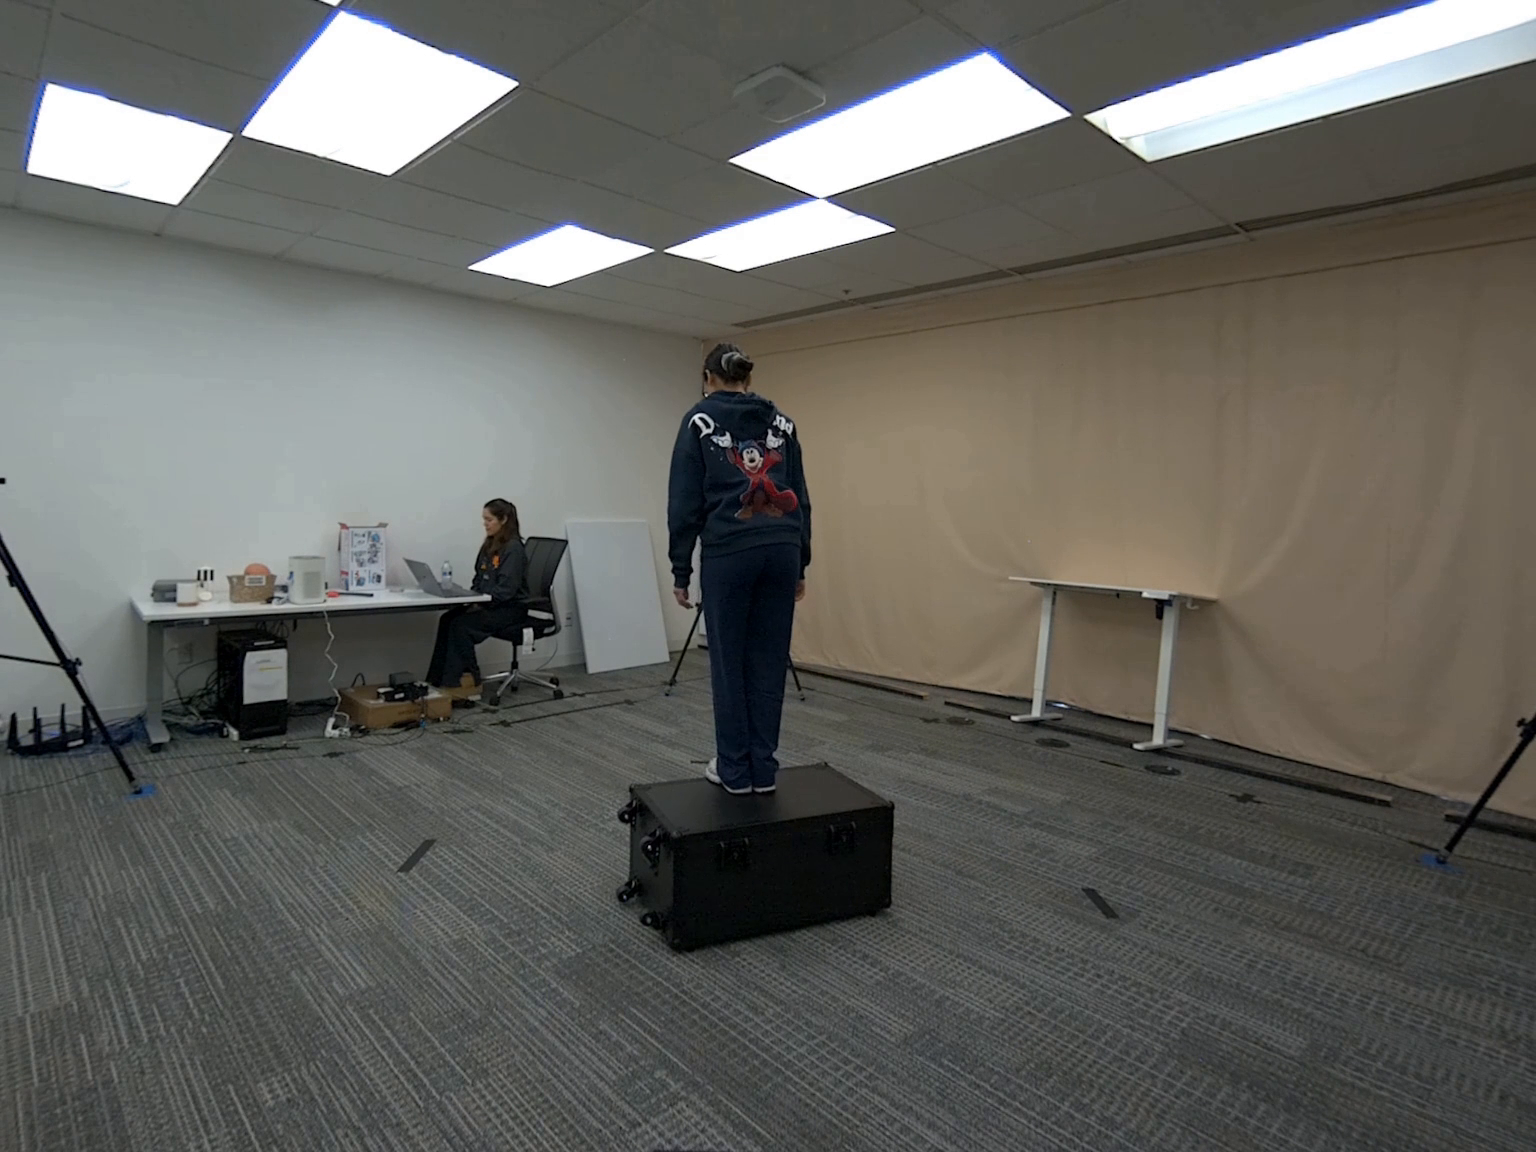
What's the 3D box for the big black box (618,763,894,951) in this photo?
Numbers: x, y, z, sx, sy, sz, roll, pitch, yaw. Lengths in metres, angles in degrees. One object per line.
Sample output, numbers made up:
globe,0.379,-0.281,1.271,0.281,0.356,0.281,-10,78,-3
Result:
big black box,-0.061,0.950,2.876,0.846,0.520,0.404,-1,3,-26
